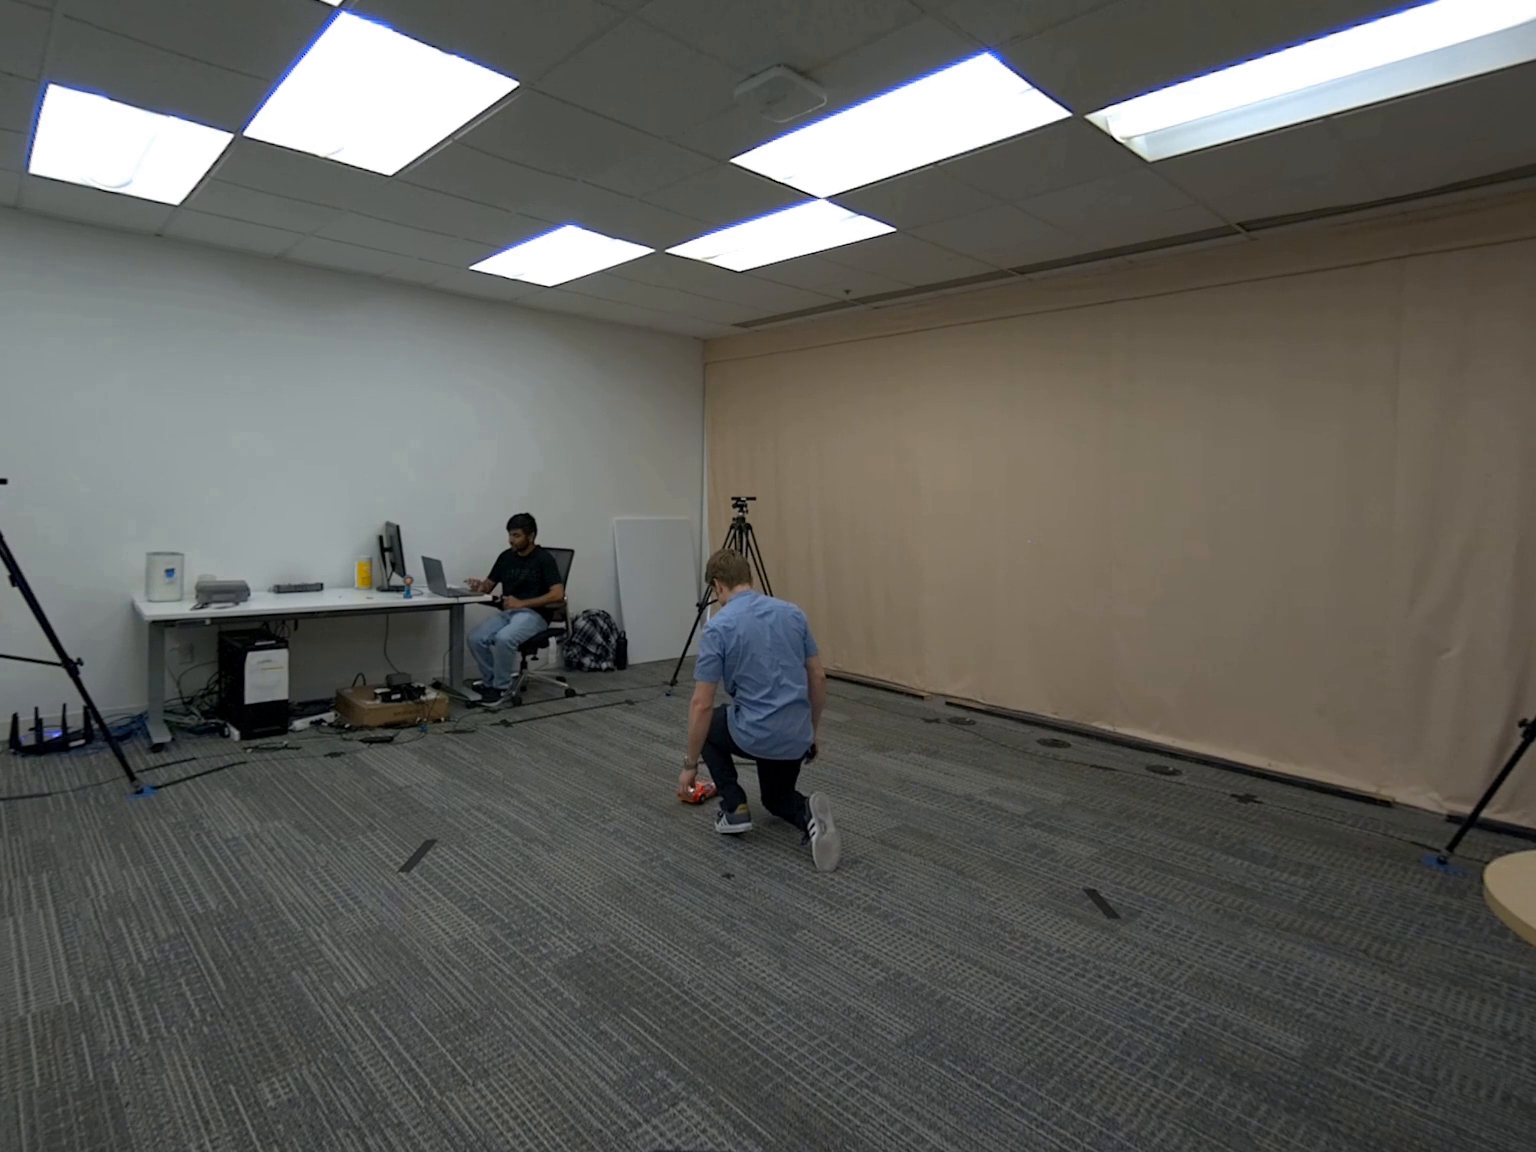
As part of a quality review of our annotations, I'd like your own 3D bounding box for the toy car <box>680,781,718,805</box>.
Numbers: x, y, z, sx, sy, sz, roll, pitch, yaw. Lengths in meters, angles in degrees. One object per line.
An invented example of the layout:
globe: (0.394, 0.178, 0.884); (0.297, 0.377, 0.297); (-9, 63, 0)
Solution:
toy car: (-0.331, 1.002, 3.903); (0.133, 0.083, 0.248); (3, -6, 36)
